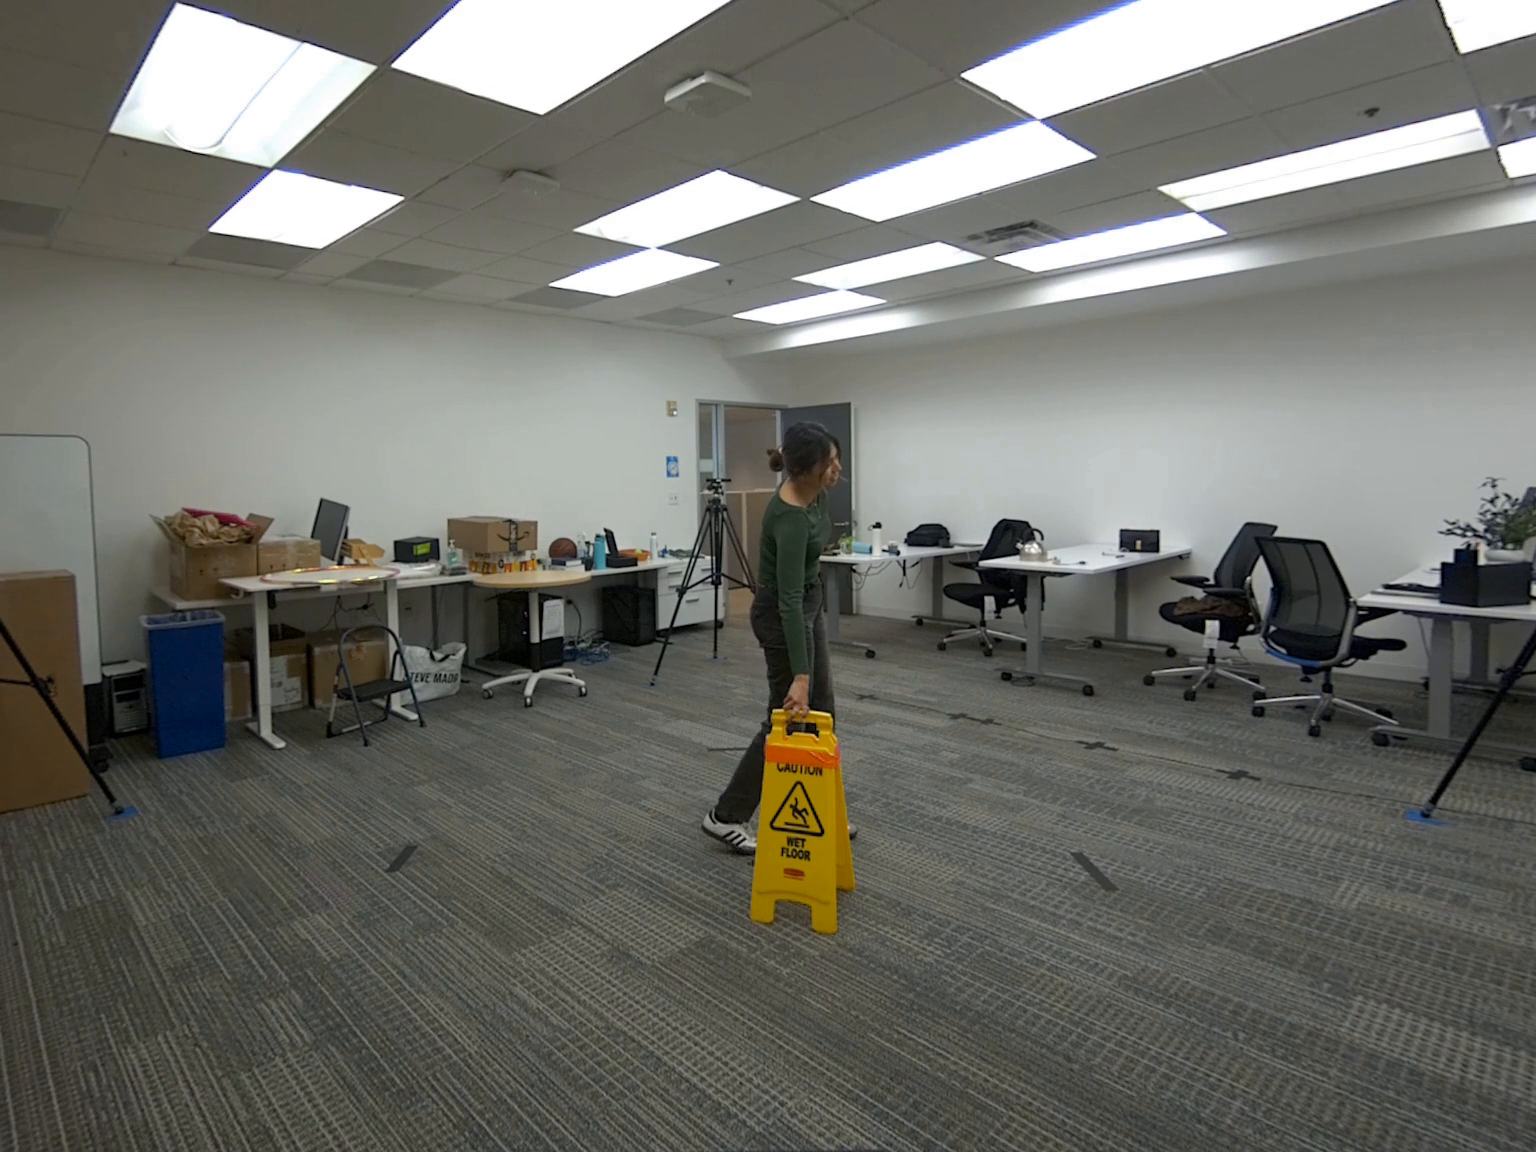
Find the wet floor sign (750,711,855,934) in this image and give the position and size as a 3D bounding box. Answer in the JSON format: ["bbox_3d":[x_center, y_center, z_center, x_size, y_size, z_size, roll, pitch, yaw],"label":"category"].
[{"bbox_3d":[0.118,0.759,2.783,0.288,0.644,0.285,2,4,20],"label":"wet floor sign"}]
